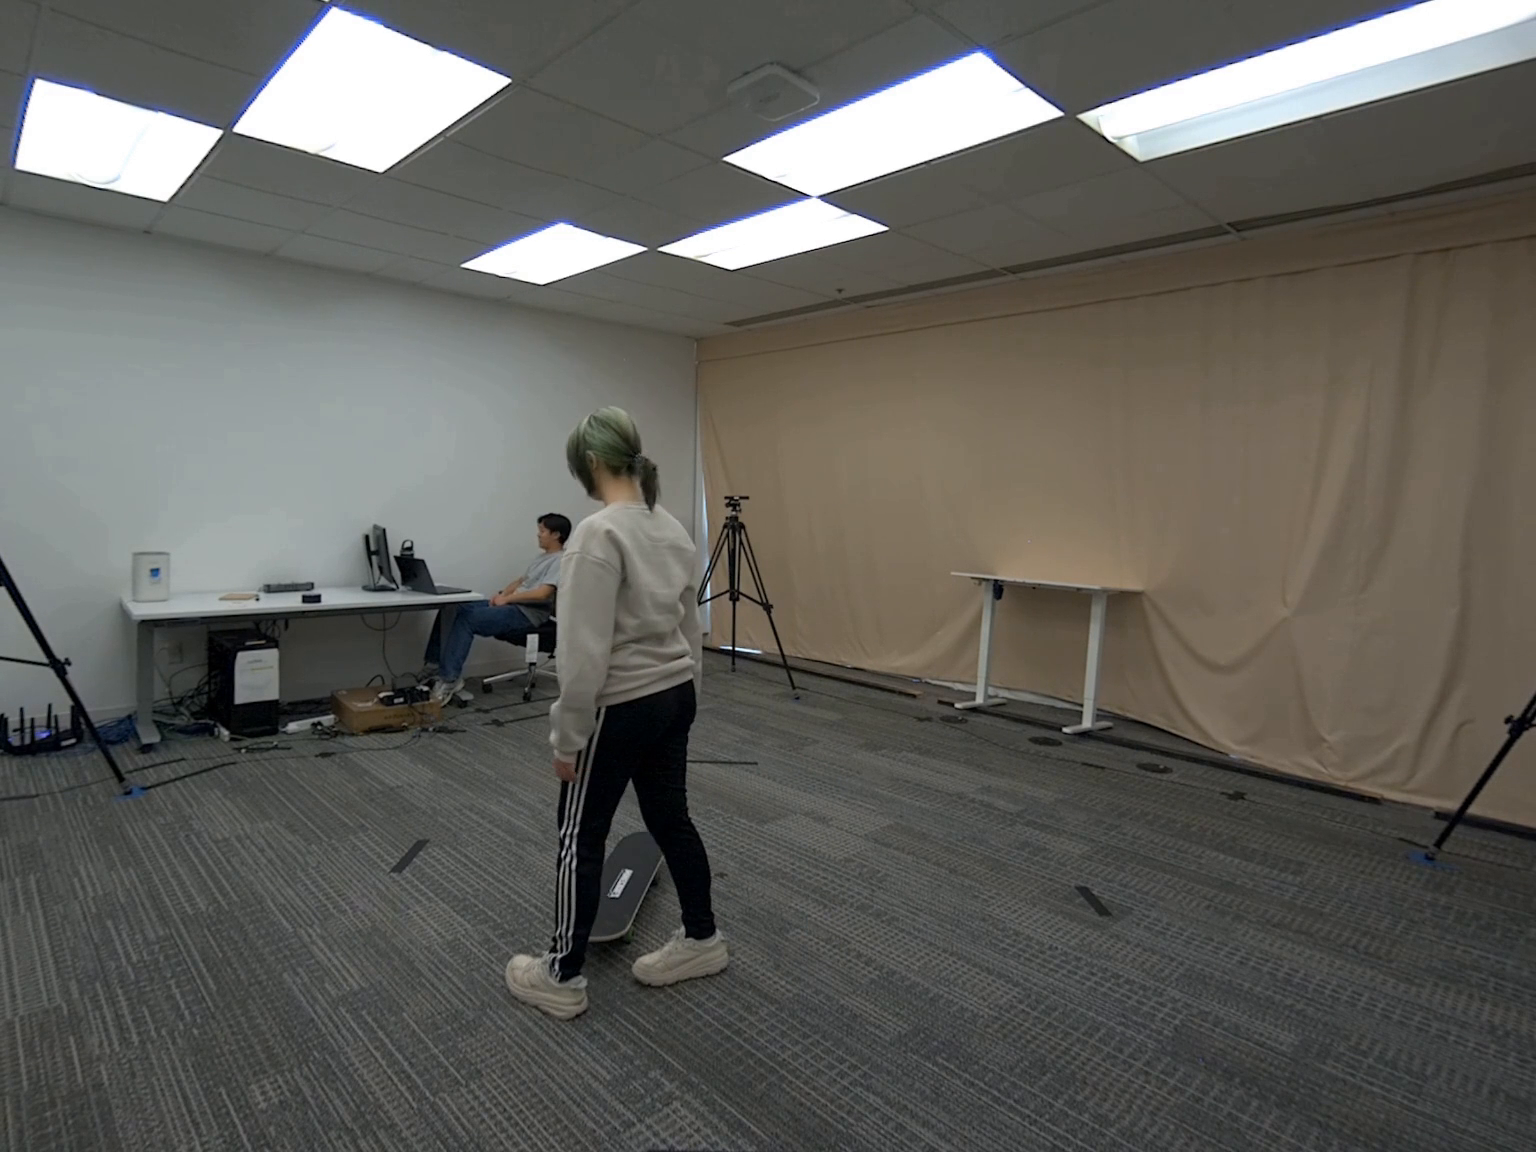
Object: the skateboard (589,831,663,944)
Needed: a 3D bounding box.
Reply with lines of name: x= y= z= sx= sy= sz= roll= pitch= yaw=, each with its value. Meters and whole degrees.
skateboard: x=-0.506 y=1.067 z=2.830 sx=0.194 sy=0.110 sz=0.784 roll=1 pitch=5 yaw=4
